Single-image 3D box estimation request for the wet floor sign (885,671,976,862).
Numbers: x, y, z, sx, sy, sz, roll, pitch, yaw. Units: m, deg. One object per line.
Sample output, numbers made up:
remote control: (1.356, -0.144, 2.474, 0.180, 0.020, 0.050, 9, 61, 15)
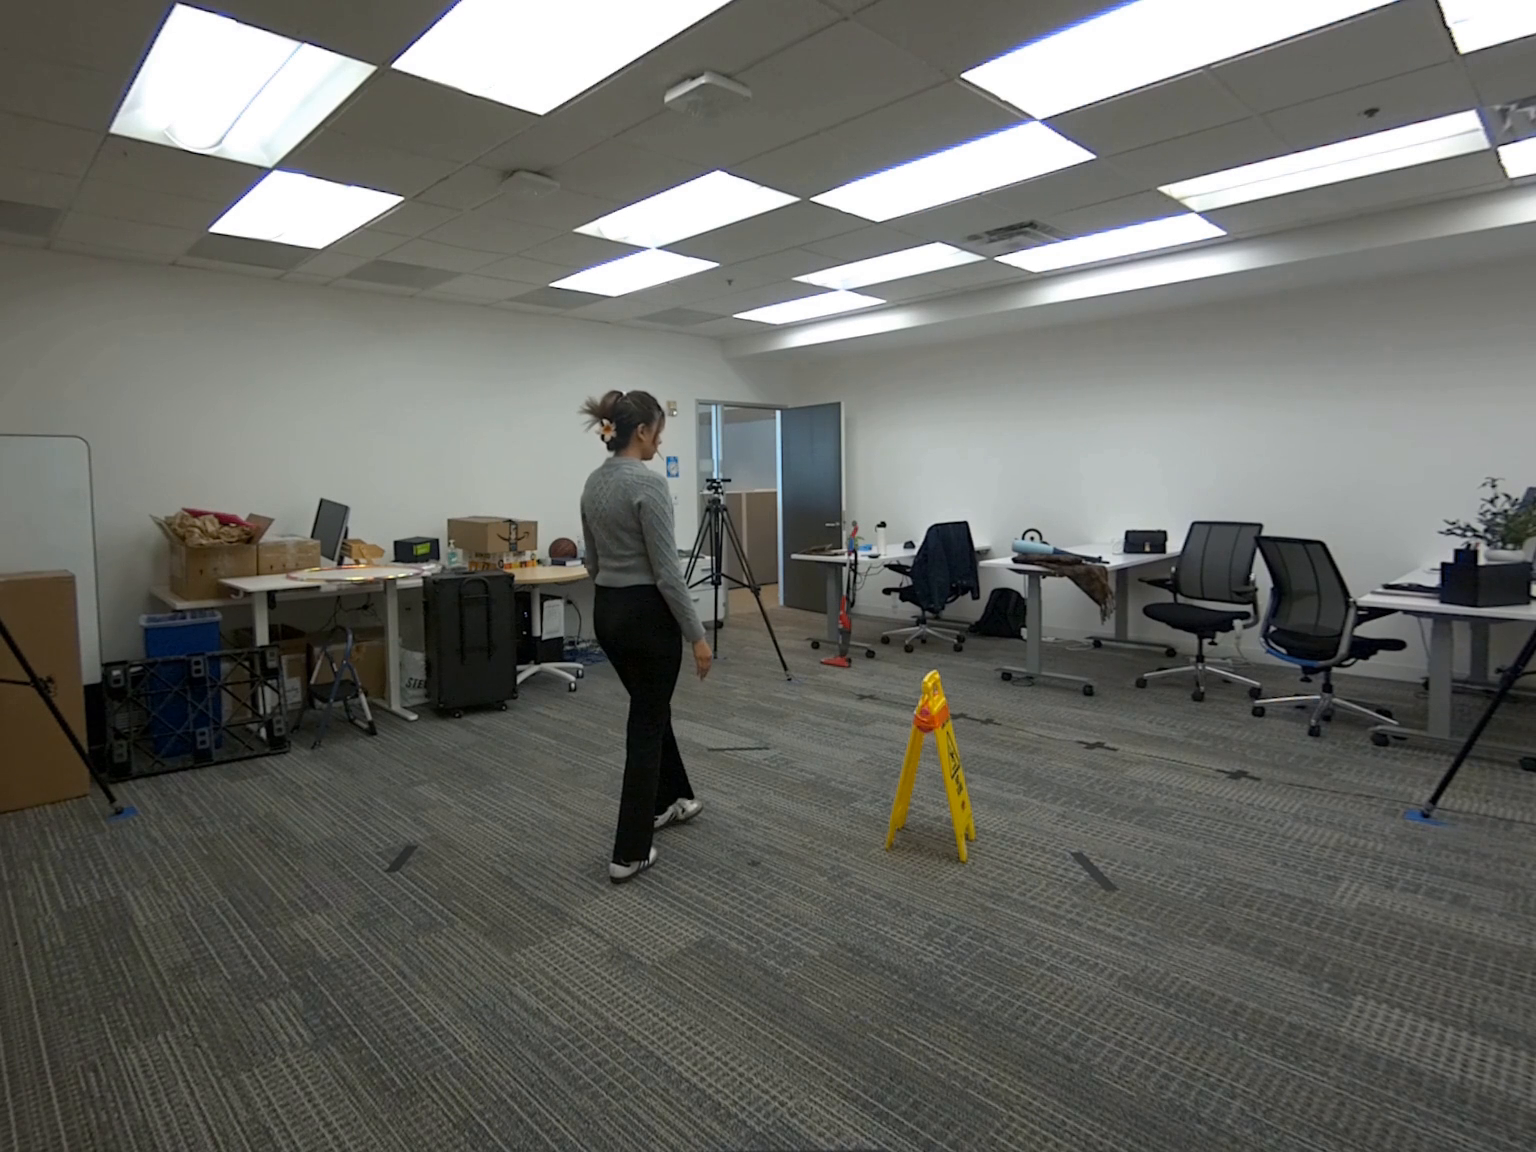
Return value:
wet floor sign: (0.621, 0.693, 3.240, 0.296, 0.643, 0.277, 2, 5, 24)
